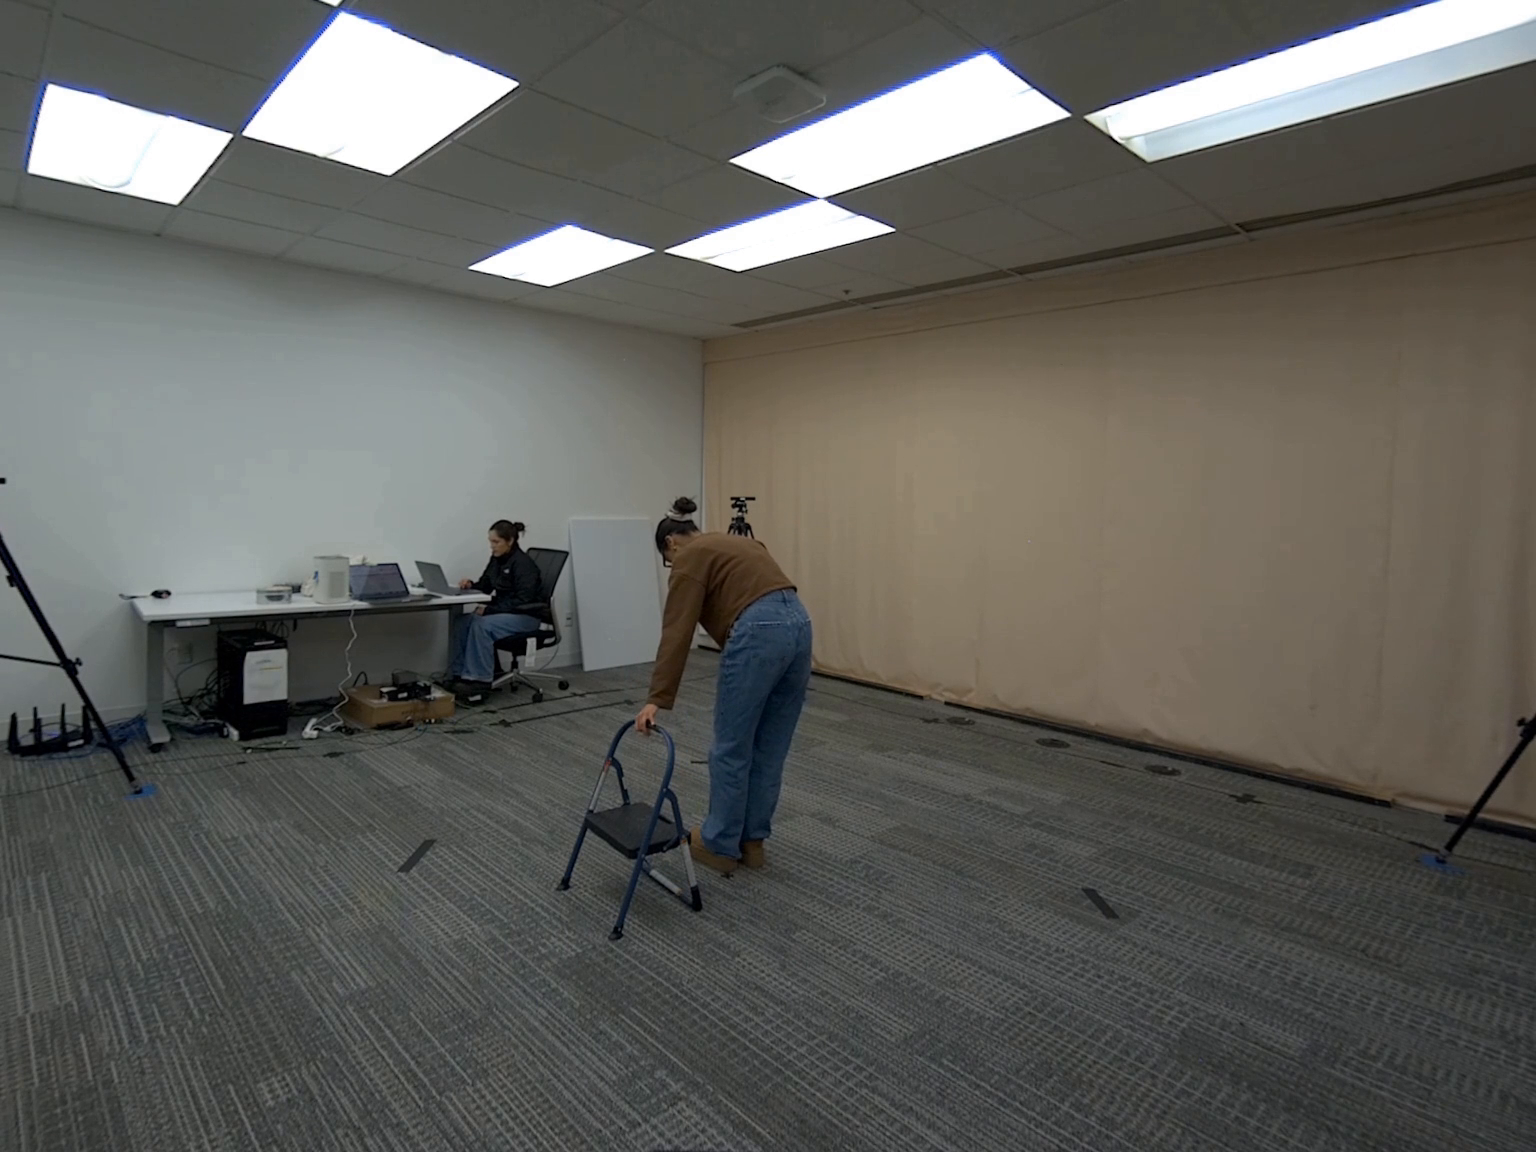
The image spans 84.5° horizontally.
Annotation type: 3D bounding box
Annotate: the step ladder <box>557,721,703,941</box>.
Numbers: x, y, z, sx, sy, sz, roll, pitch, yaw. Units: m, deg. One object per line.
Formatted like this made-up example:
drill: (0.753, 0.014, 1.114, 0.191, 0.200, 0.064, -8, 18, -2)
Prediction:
step ladder: (-0.475, 0.815, 2.885, 0.341, 0.605, 0.441, -1, 4, -37)
